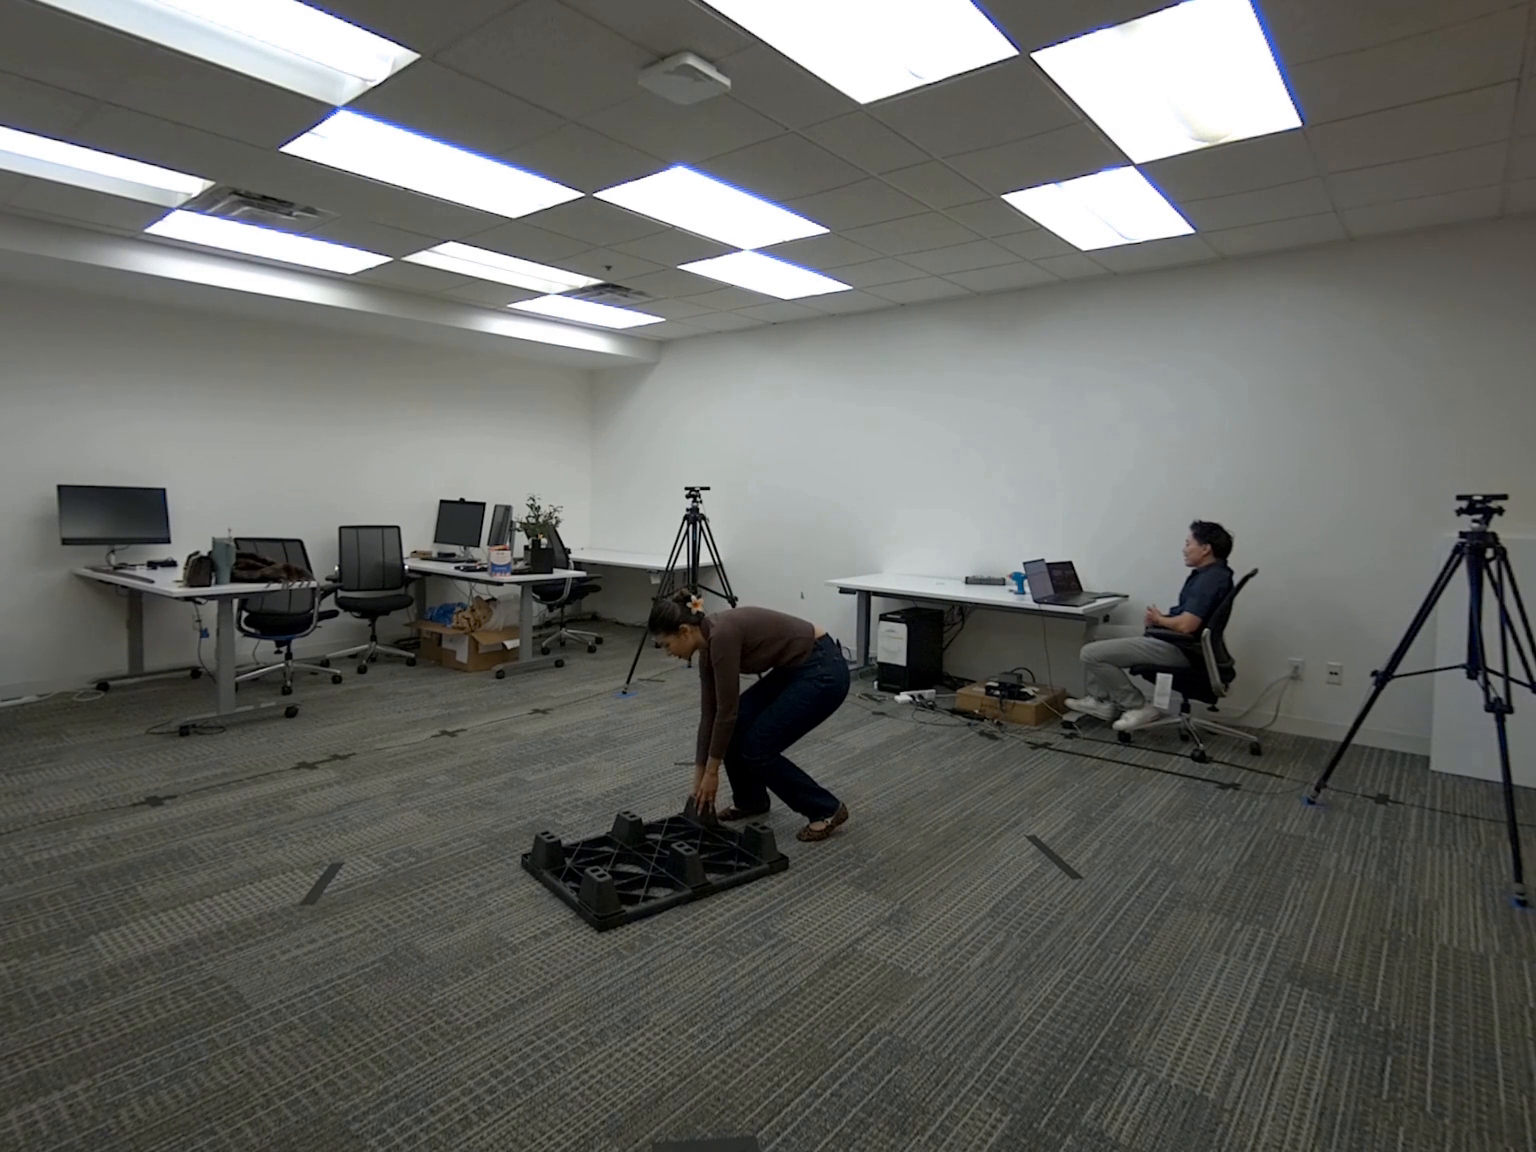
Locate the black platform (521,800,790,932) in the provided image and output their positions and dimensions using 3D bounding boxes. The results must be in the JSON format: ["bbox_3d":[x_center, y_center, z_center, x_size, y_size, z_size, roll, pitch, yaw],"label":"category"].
[{"bbox_3d":[-0.423,0.995,3.102,0.782,0.143,0.625,-4,7,-39],"label":"black platform"}]
